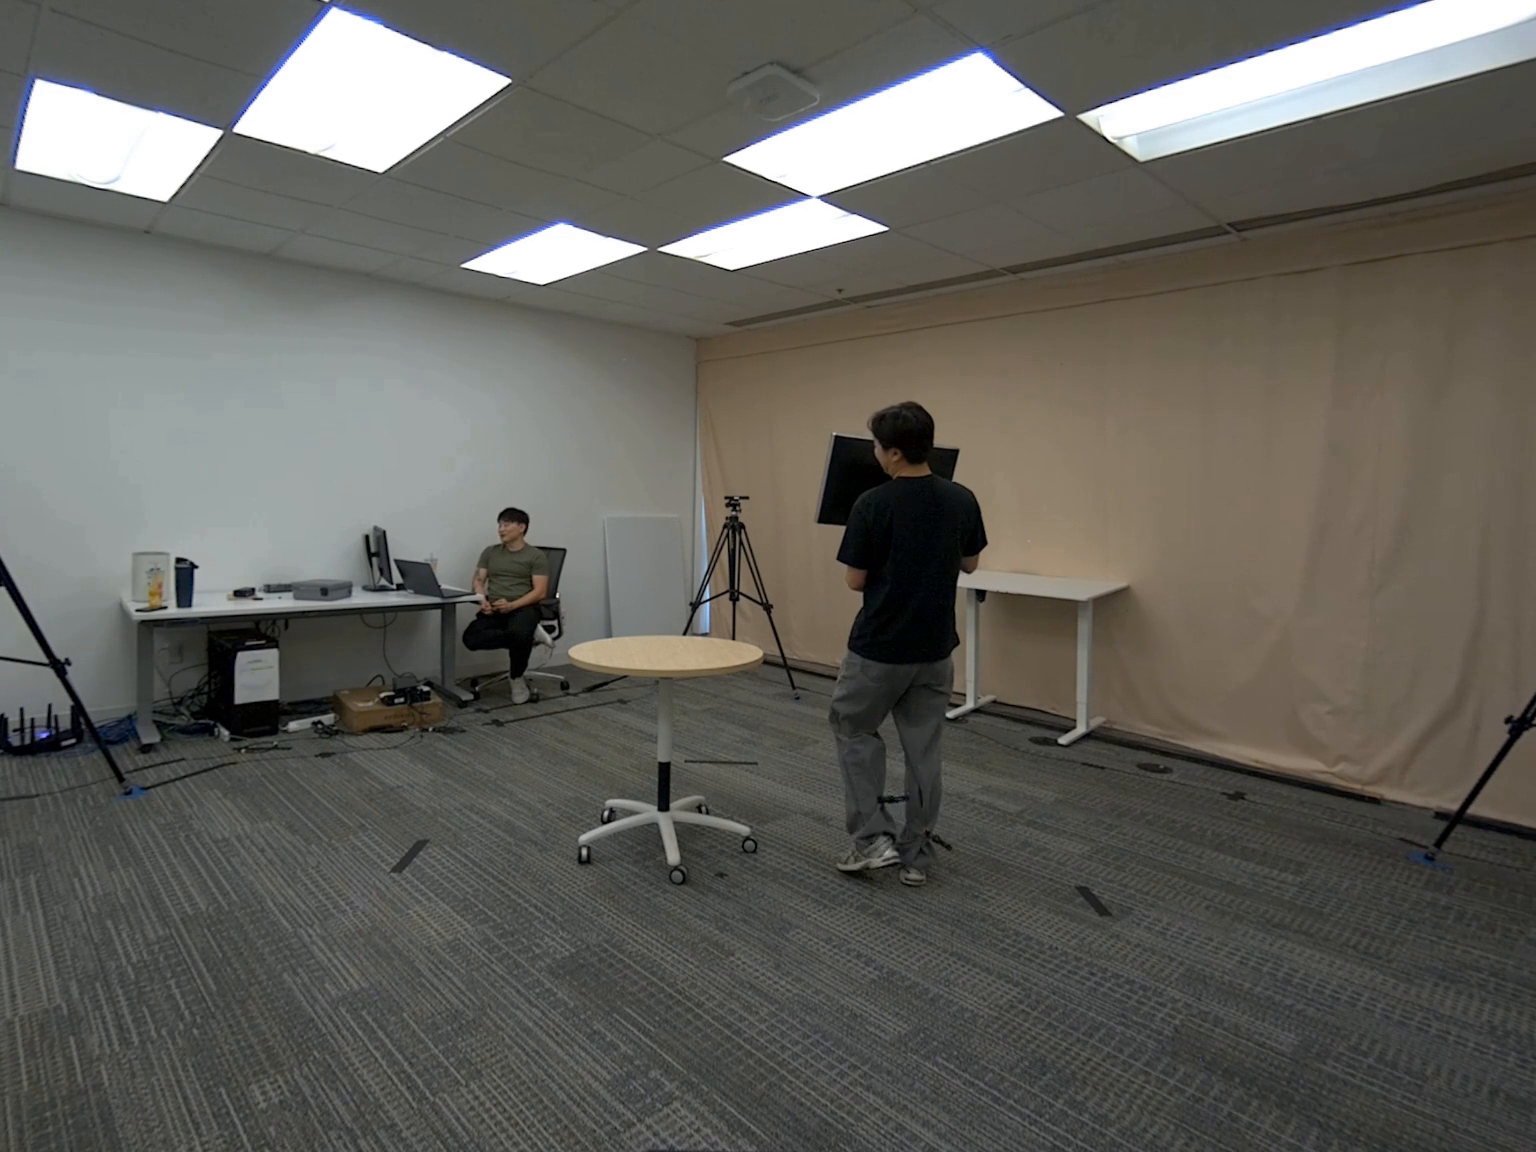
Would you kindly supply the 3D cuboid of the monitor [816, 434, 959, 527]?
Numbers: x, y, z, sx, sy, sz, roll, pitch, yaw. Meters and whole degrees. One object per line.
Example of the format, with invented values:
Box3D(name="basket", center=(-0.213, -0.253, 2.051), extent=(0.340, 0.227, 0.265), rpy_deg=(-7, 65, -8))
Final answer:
Box3D(name="monitor", center=(0.478, -0.252, 3.341), extent=(0.555, 0.565, 0.225), rpy_deg=(4, 2, -15))
